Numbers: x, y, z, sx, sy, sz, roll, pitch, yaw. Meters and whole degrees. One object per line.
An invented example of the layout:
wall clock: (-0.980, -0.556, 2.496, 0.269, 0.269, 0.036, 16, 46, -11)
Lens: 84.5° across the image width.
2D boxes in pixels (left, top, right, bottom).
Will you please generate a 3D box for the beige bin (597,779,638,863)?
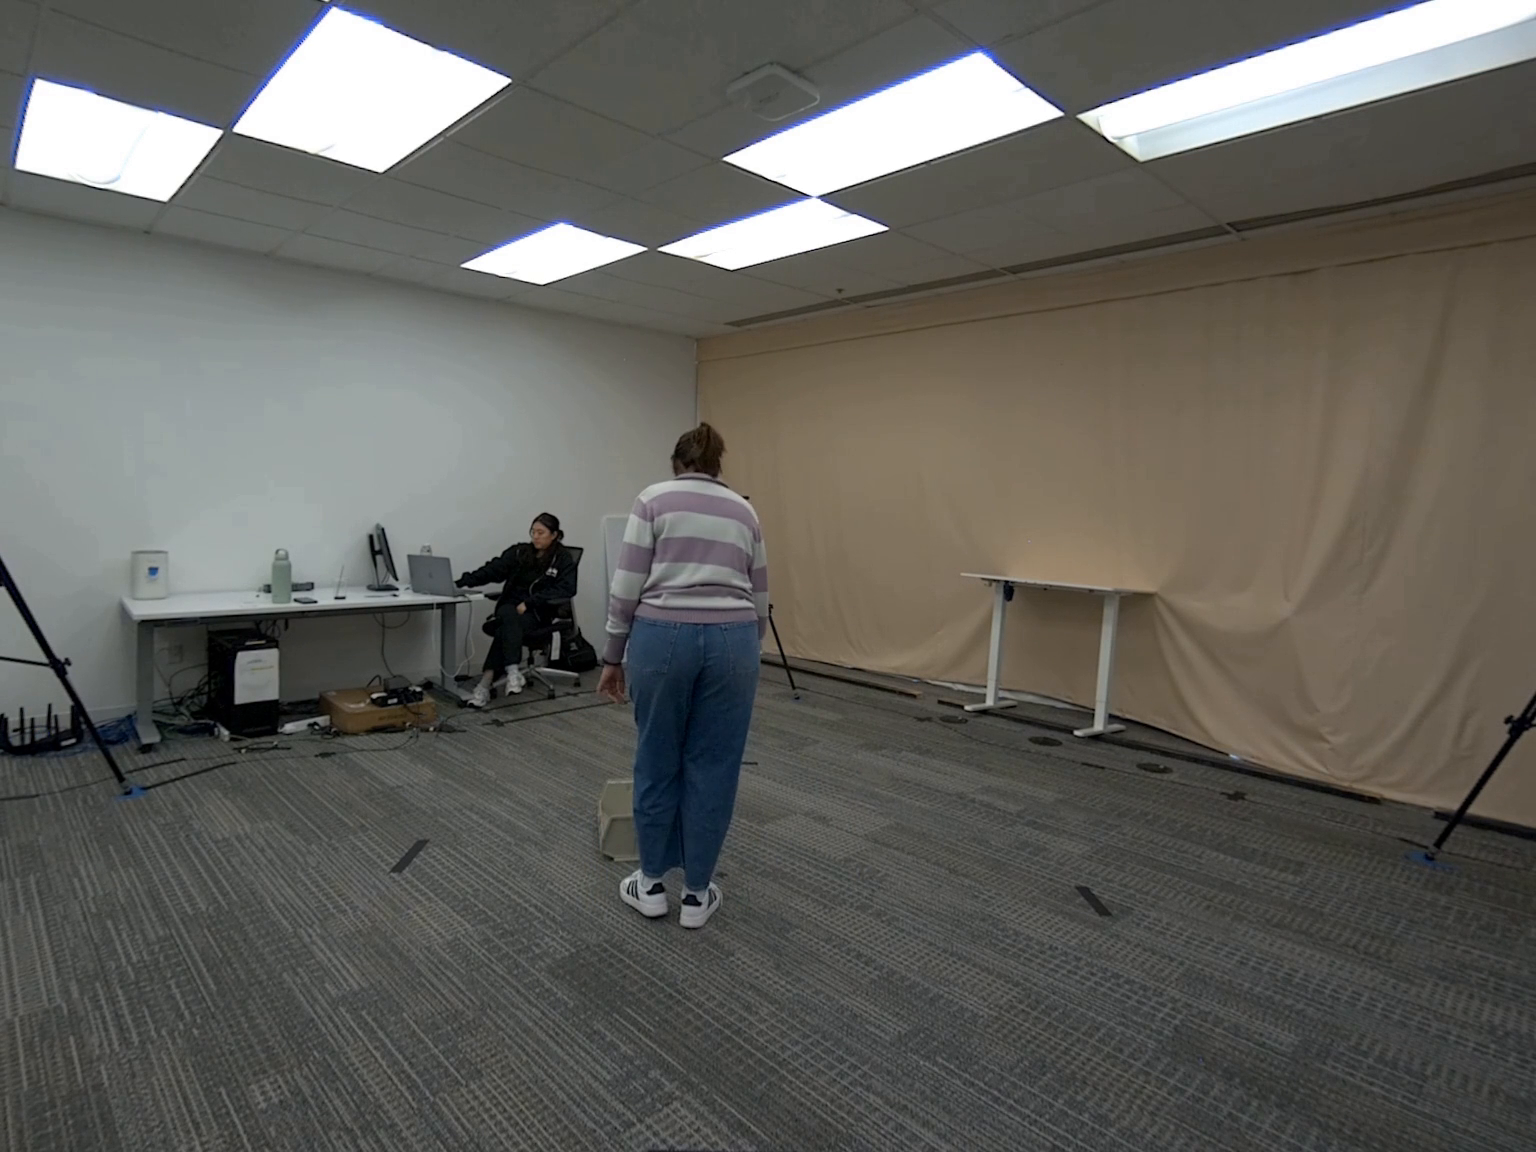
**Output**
beige bin: (-0.500, 0.979, 3.416, 0.374, 0.188, 0.427, 0, 4, -12)
